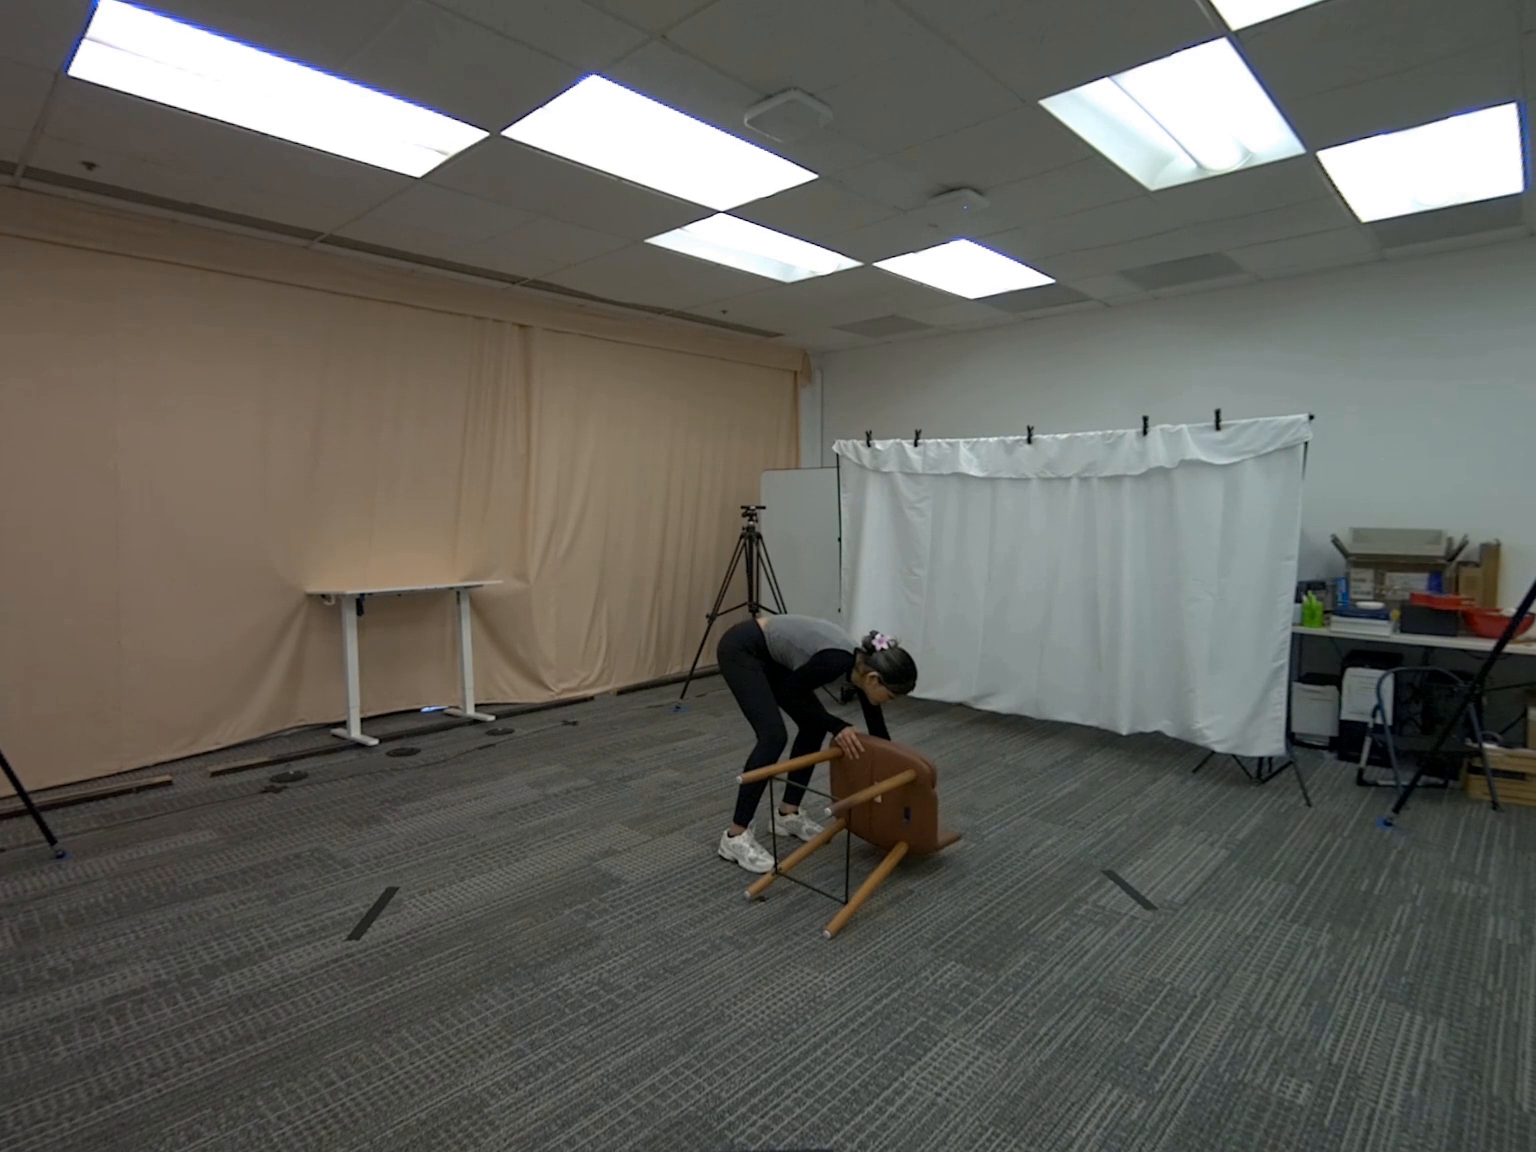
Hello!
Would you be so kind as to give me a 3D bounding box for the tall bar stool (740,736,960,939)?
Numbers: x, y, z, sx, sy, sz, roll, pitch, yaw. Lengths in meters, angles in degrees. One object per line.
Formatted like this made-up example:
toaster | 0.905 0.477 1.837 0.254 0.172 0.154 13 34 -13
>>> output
tall bar stool | 0.342 0.864 3.097 0.472 0.465 0.864 7 12 42
